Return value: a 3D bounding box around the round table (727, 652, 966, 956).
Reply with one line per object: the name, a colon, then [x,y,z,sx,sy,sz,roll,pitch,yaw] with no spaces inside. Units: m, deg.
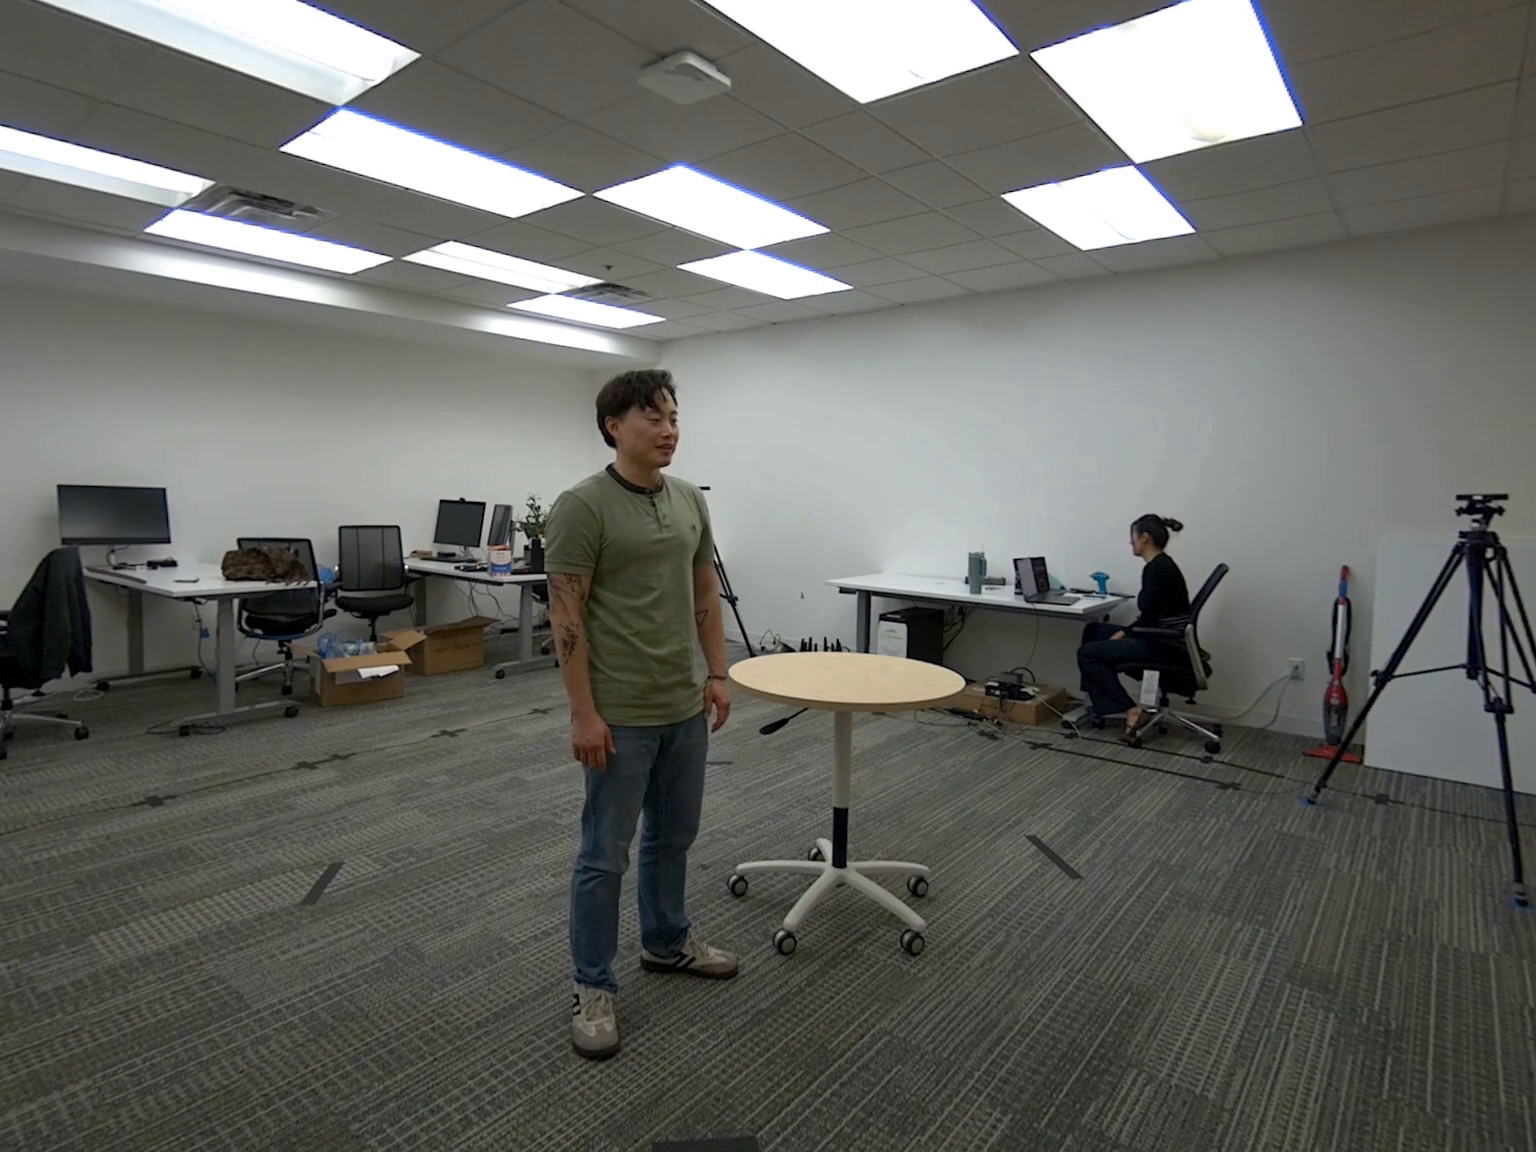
round table: [0.234,0.714,2.815,0.763,0.791,0.768,1,4,-2]
